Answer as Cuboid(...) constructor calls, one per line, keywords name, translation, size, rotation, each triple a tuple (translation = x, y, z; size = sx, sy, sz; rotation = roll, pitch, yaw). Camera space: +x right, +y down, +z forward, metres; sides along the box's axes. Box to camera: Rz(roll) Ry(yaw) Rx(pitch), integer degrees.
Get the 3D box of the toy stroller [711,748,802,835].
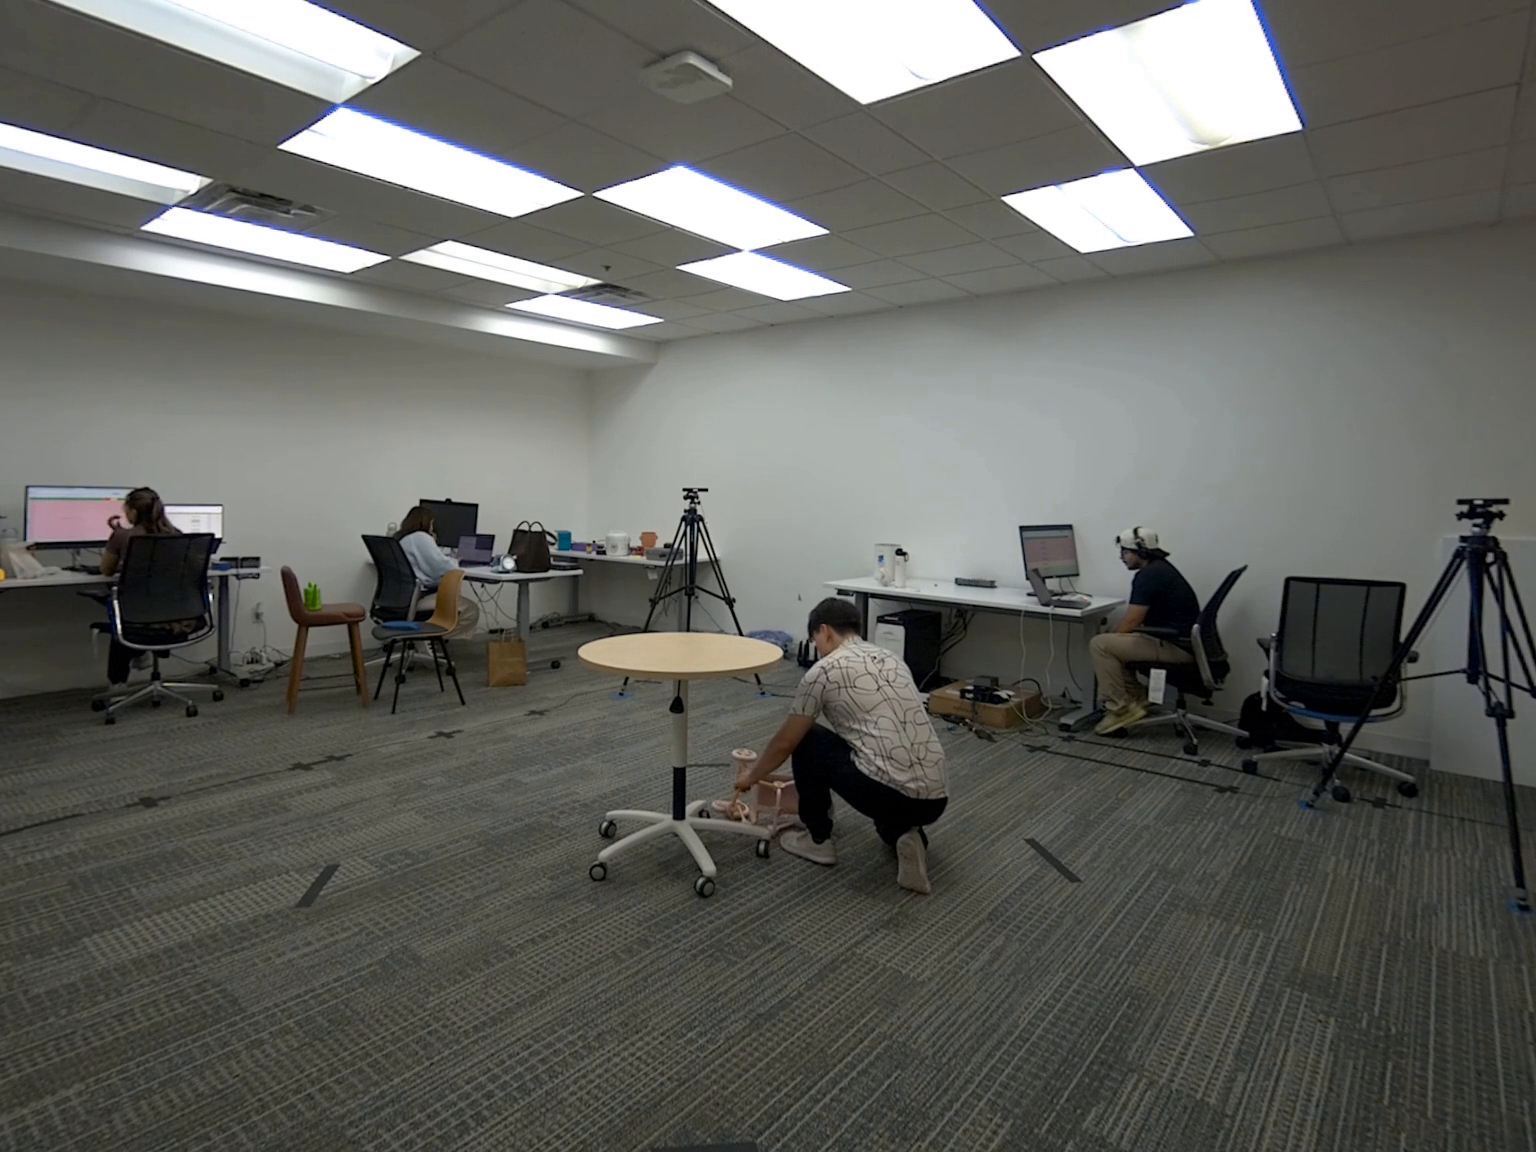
Cuboid(name="toy stroller", translation=(0.027, 0.909, 3.495), size=(0.536, 0.280, 0.343), rotation=(8, 6, 0))
